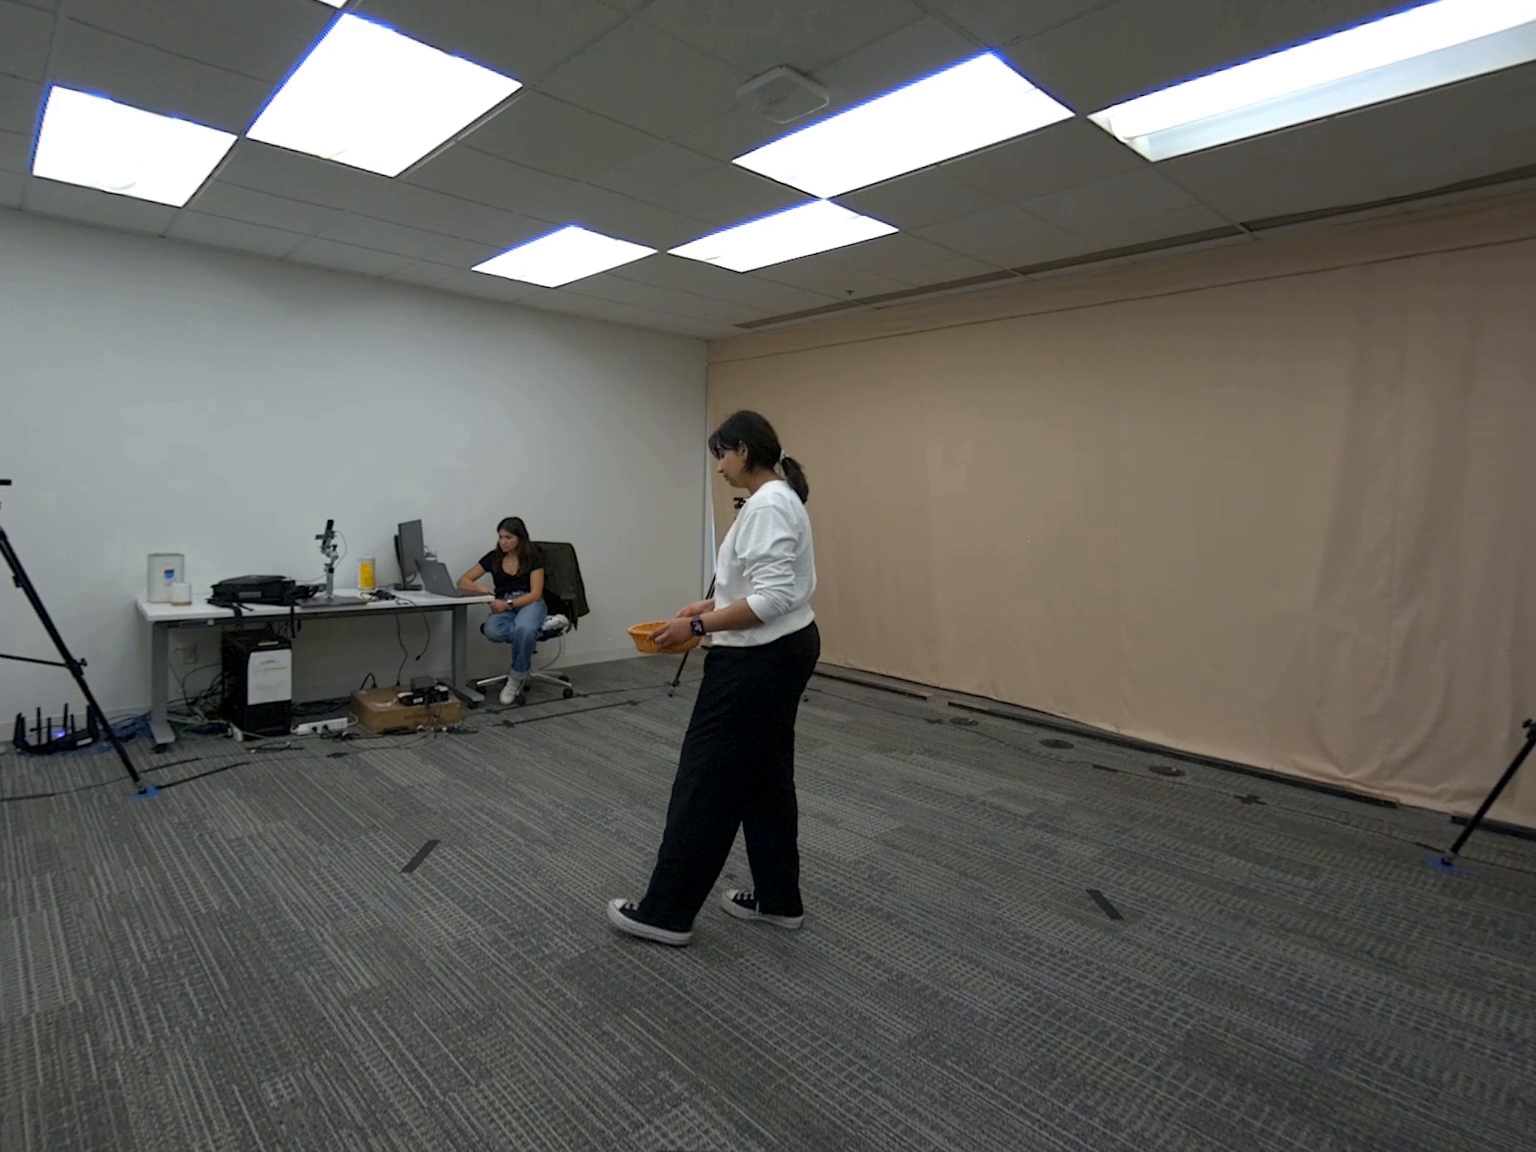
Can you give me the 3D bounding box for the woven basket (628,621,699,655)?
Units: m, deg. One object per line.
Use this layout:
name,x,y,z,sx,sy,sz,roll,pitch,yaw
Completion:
woven basket,-0.321,0.207,2.741,0.253,0.073,0.349,0,3,4
